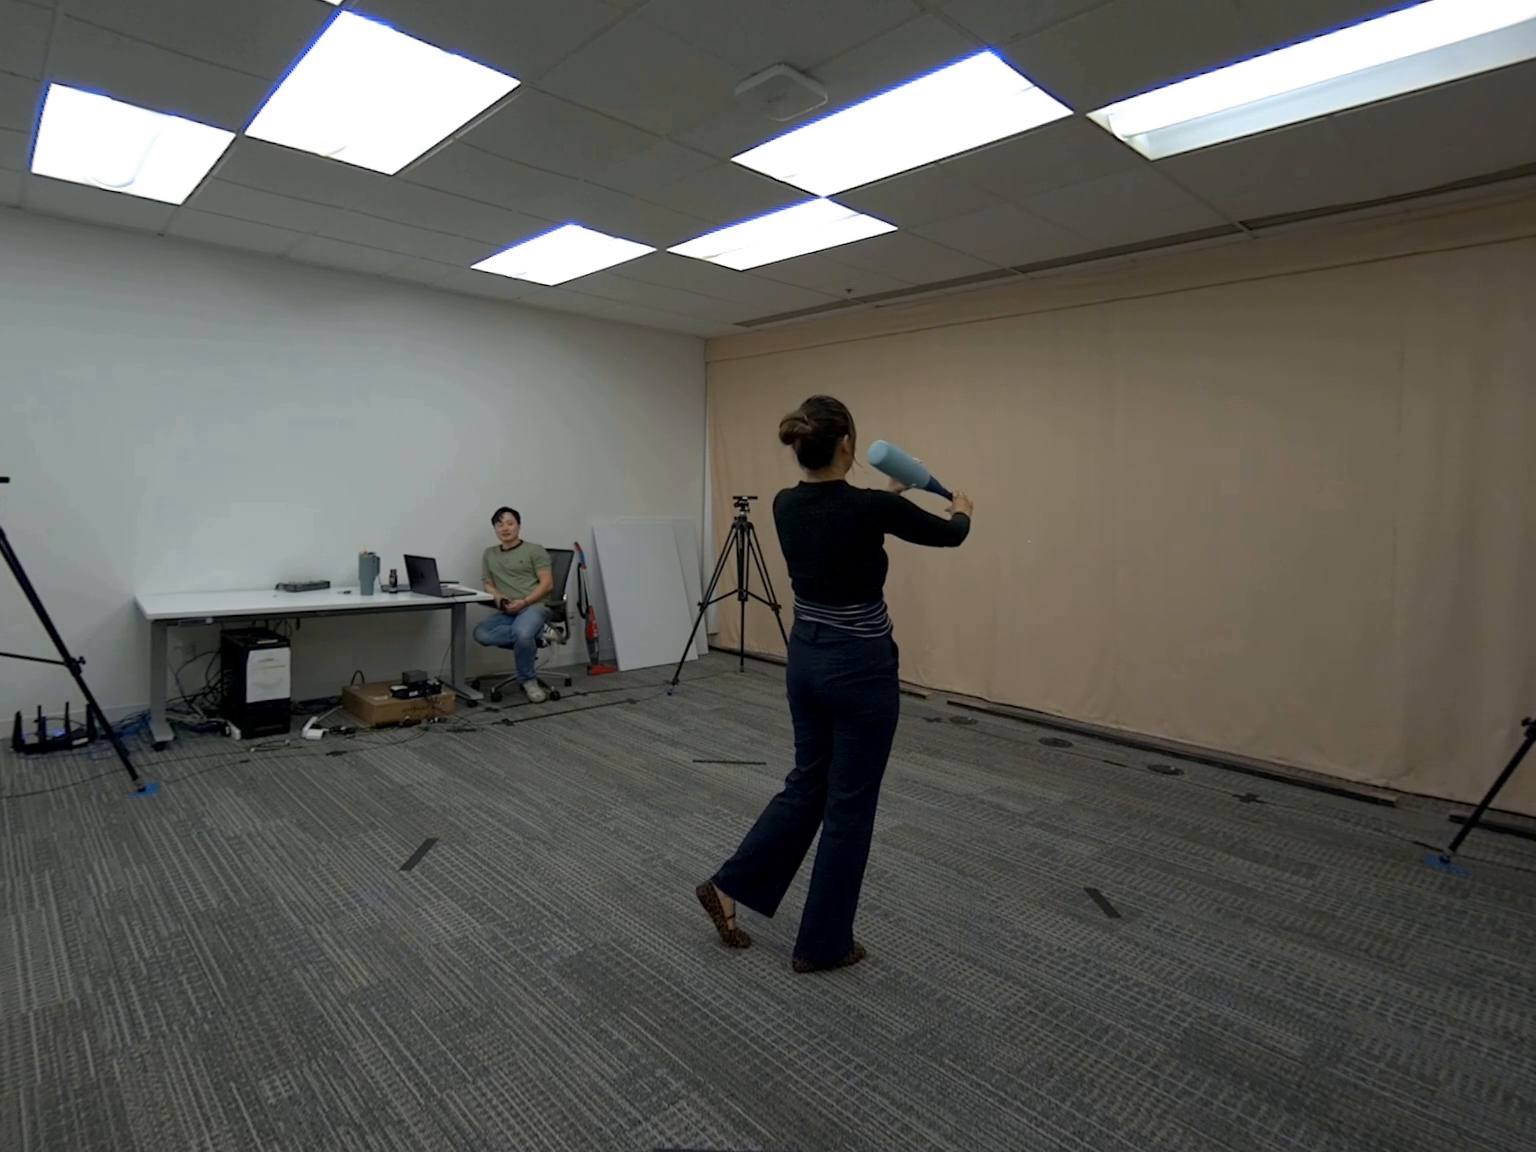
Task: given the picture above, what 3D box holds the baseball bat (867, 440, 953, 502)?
[{"bbox_3d":[0.502,-0.309,2.772,0.527,0.089,0.091,23,-11,-41],"label":"baseball bat"}]
